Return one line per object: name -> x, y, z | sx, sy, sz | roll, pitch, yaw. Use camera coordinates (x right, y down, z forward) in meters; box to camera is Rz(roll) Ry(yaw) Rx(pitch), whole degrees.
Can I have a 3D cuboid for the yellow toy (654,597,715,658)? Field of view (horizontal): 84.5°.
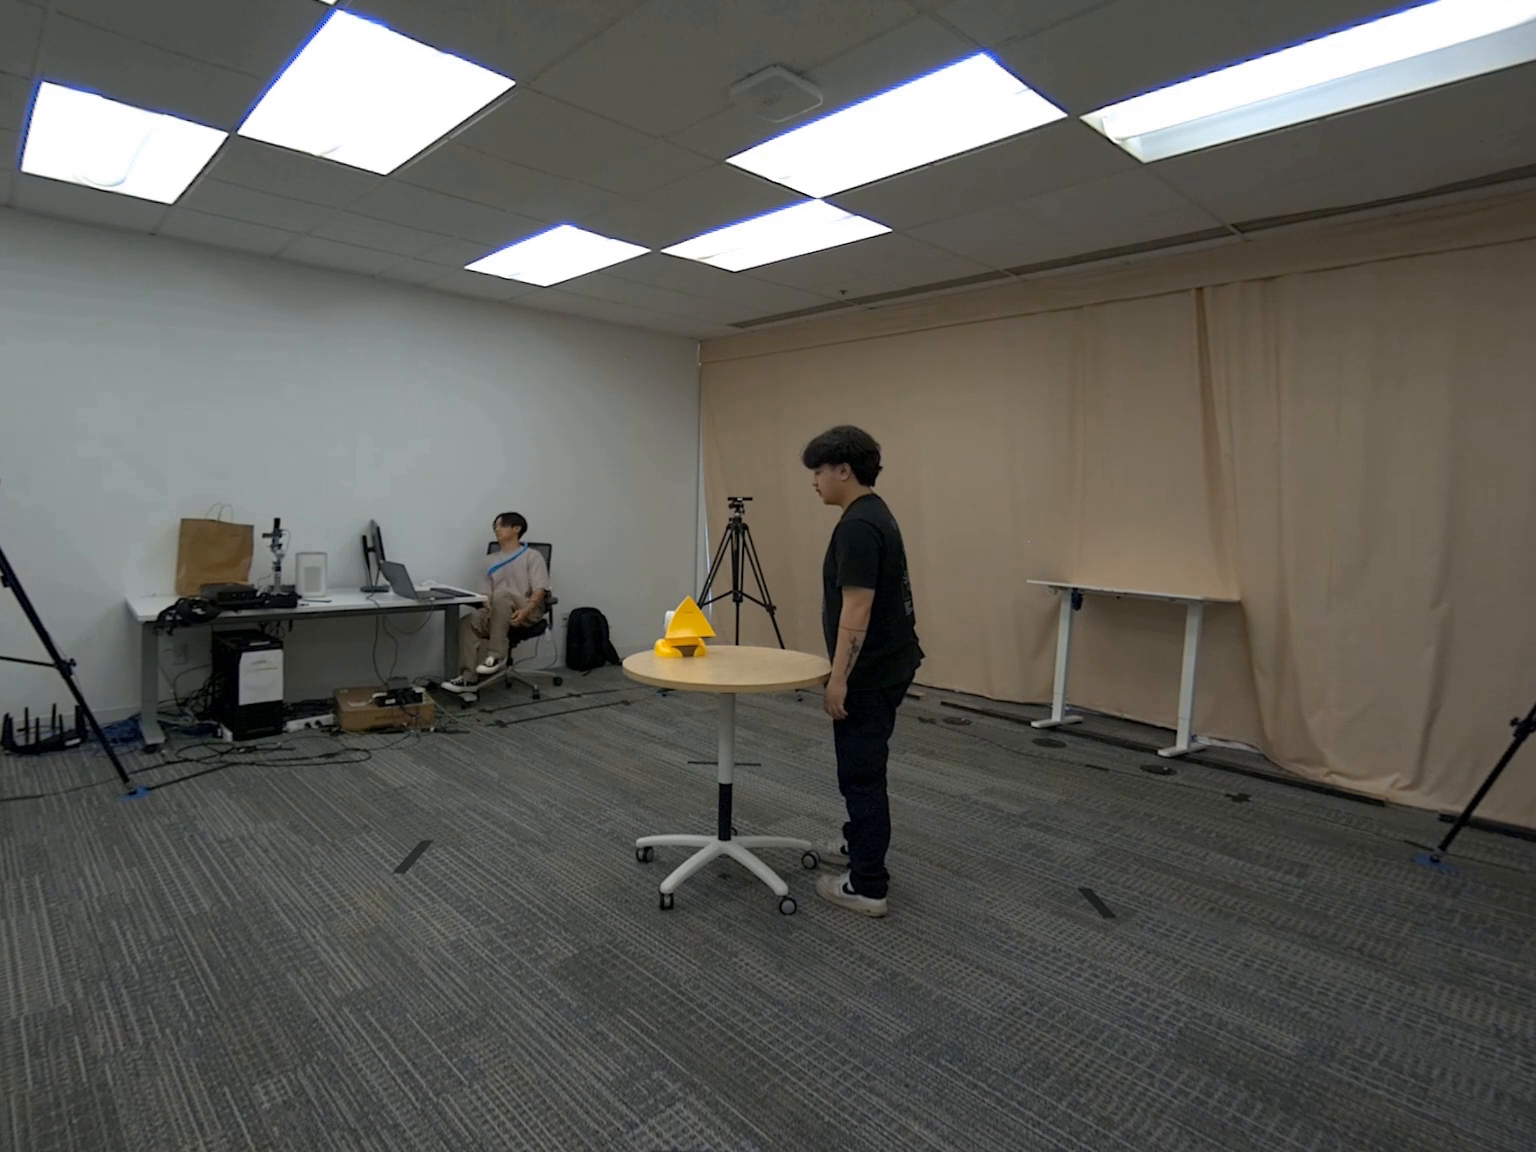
yellow toy -> -0.336, 0.184, 3.228 | 0.201, 0.230, 0.197 | -1, 5, -28
